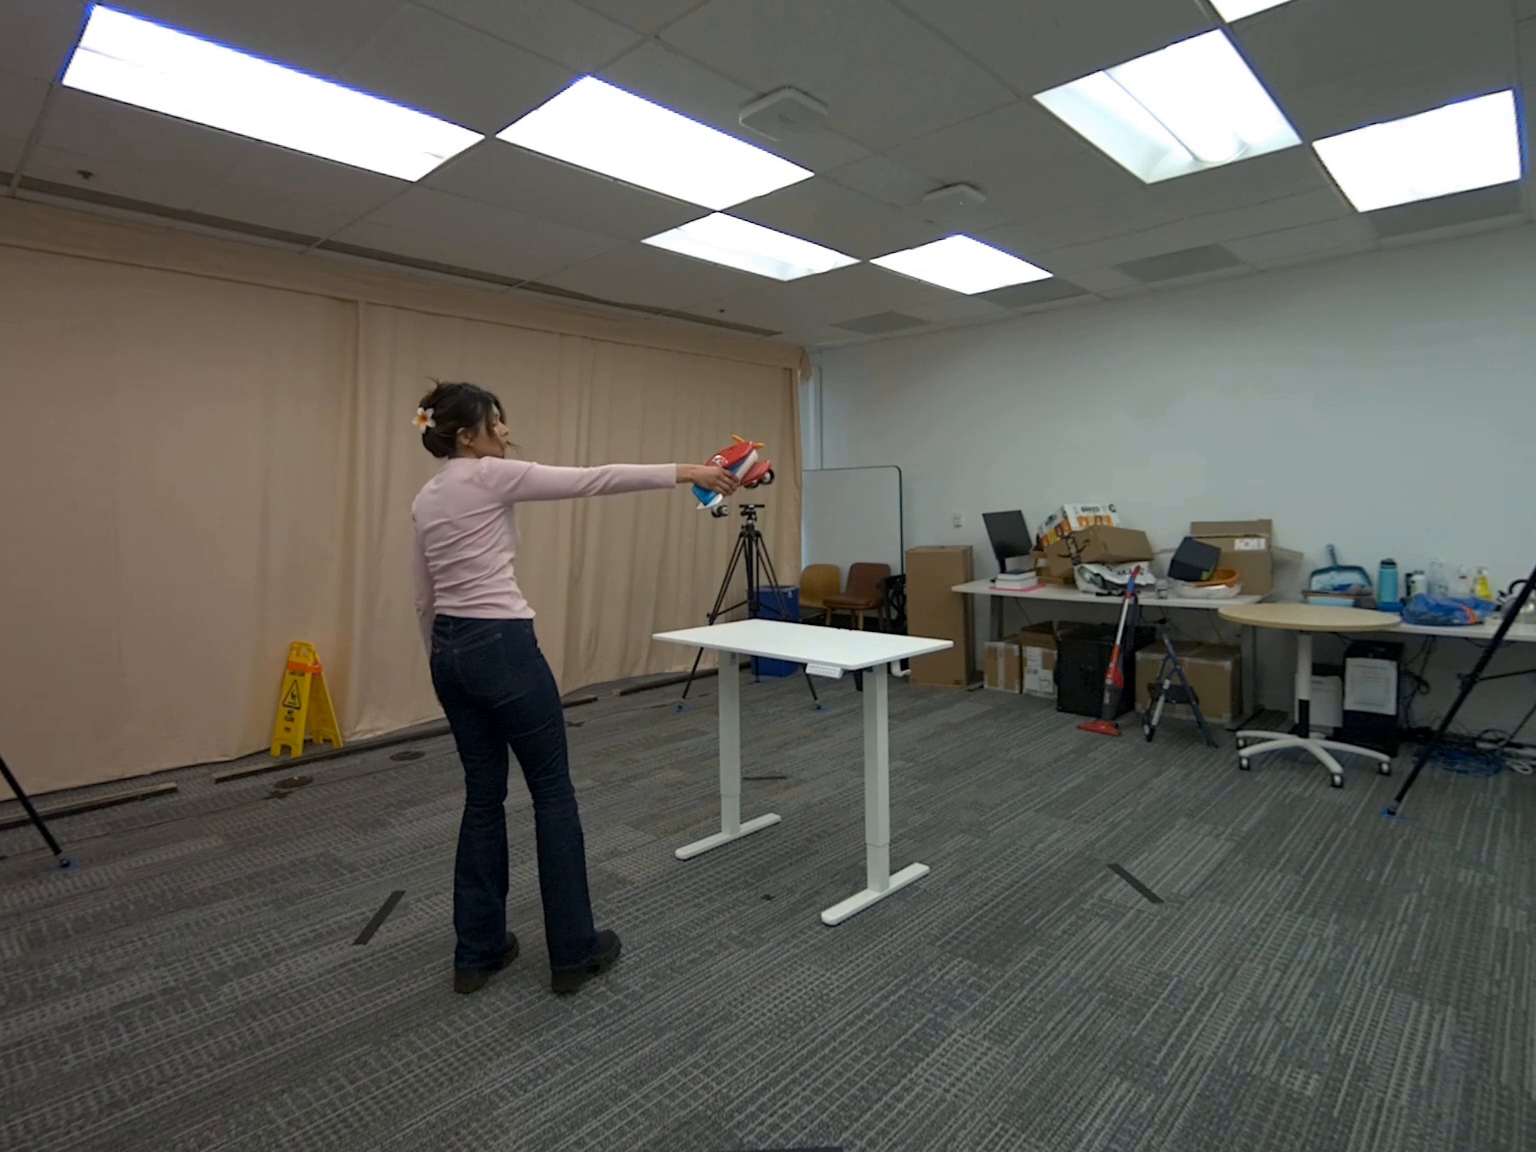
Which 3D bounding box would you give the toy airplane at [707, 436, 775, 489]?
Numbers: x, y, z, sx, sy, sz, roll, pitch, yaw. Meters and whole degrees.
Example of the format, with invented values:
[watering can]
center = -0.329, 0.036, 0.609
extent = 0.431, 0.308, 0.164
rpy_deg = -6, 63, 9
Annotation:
[toy airplane]
center = -0.089, -0.297, 2.527
extent = 0.256, 0.154, 0.257
rpy_deg = -22, 17, 34
